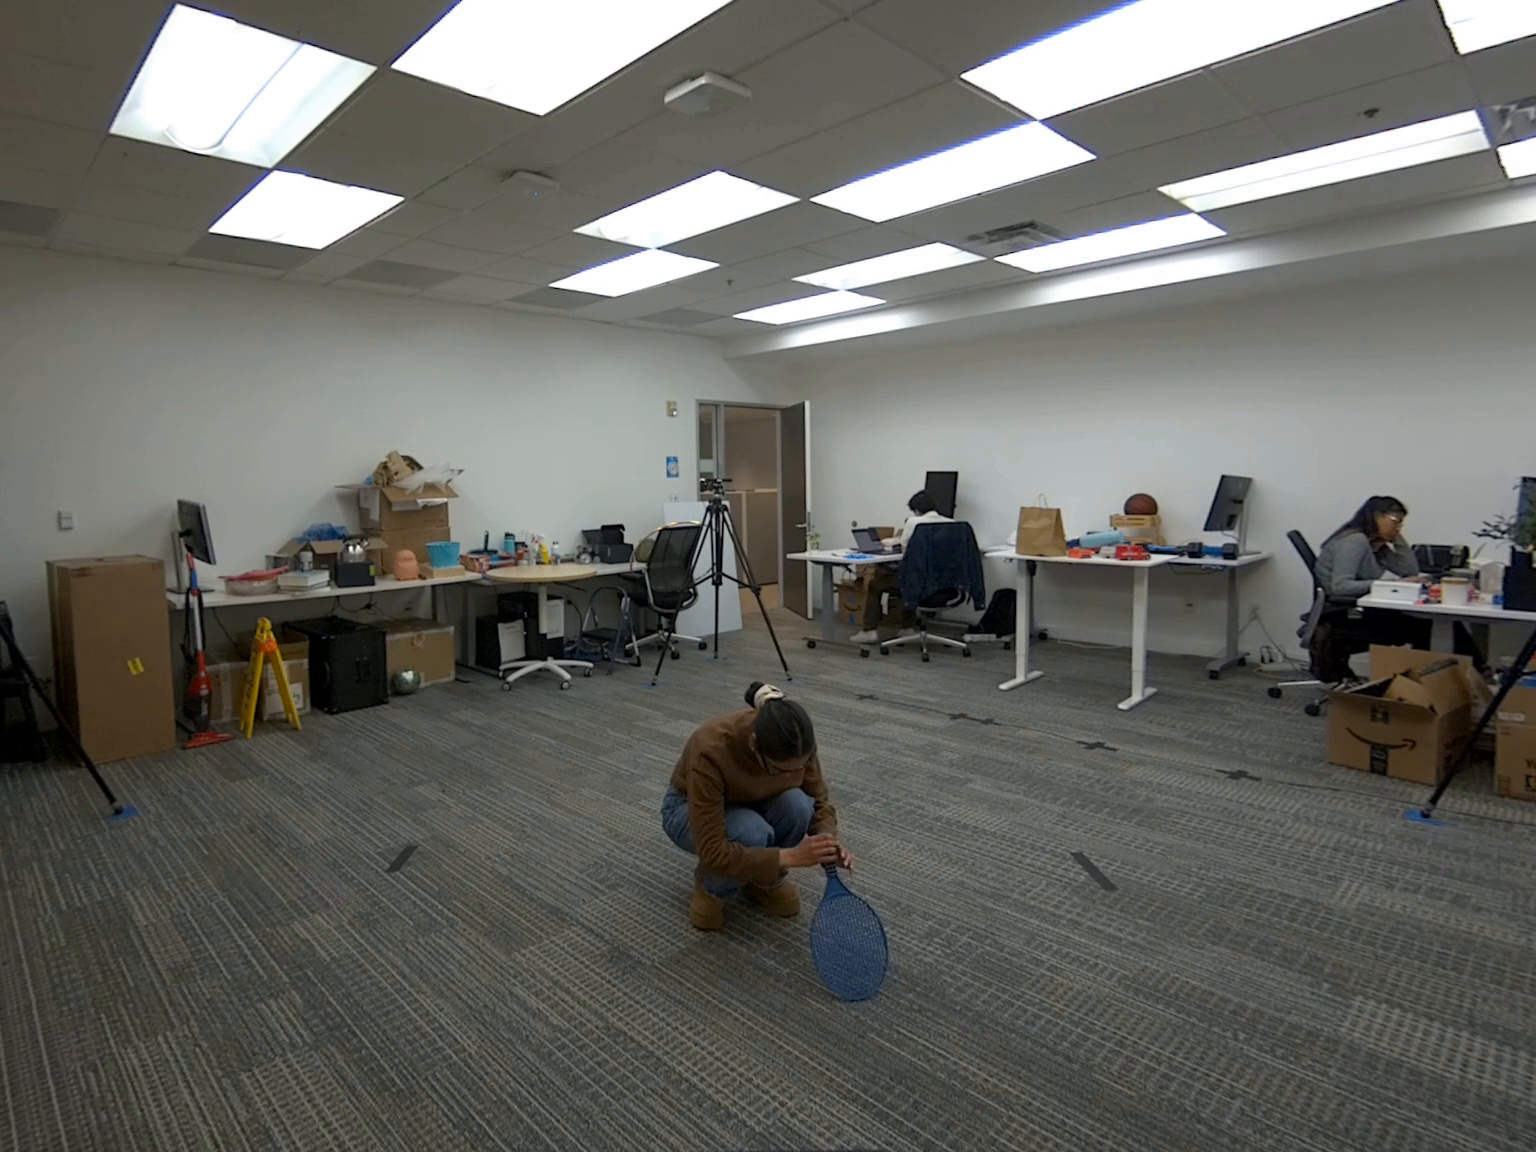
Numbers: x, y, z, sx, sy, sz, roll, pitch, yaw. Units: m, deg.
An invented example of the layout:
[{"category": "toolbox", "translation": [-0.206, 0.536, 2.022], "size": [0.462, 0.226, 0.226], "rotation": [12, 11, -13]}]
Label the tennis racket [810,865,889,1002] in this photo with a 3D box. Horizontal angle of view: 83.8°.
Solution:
[{"category": "tennis racket", "translation": [0.196, 0.957, 2.351], "size": [0.212, 0.444, 0.031], "rotation": [-20, -22, -16]}]
